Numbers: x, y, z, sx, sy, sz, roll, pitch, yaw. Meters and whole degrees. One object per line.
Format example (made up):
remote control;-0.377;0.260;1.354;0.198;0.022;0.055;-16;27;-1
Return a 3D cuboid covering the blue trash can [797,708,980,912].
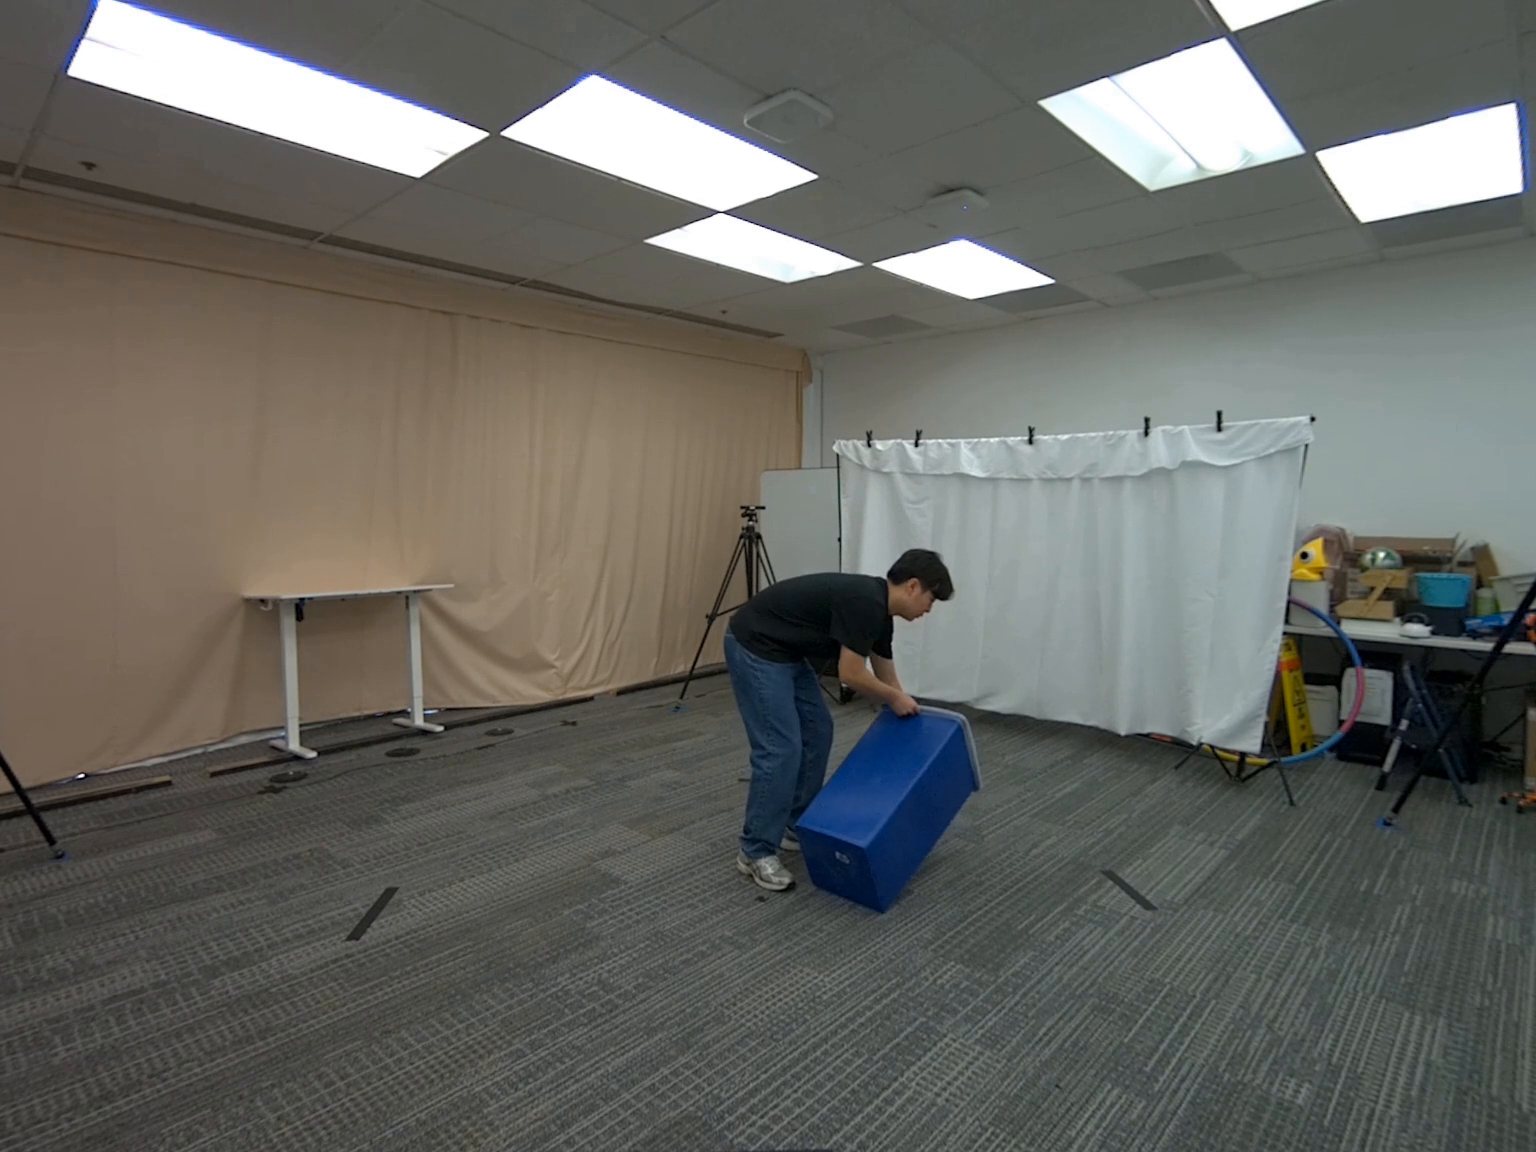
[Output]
blue trash can;0.461;0.837;3.130;0.391;0.367;0.703;4;31;40
